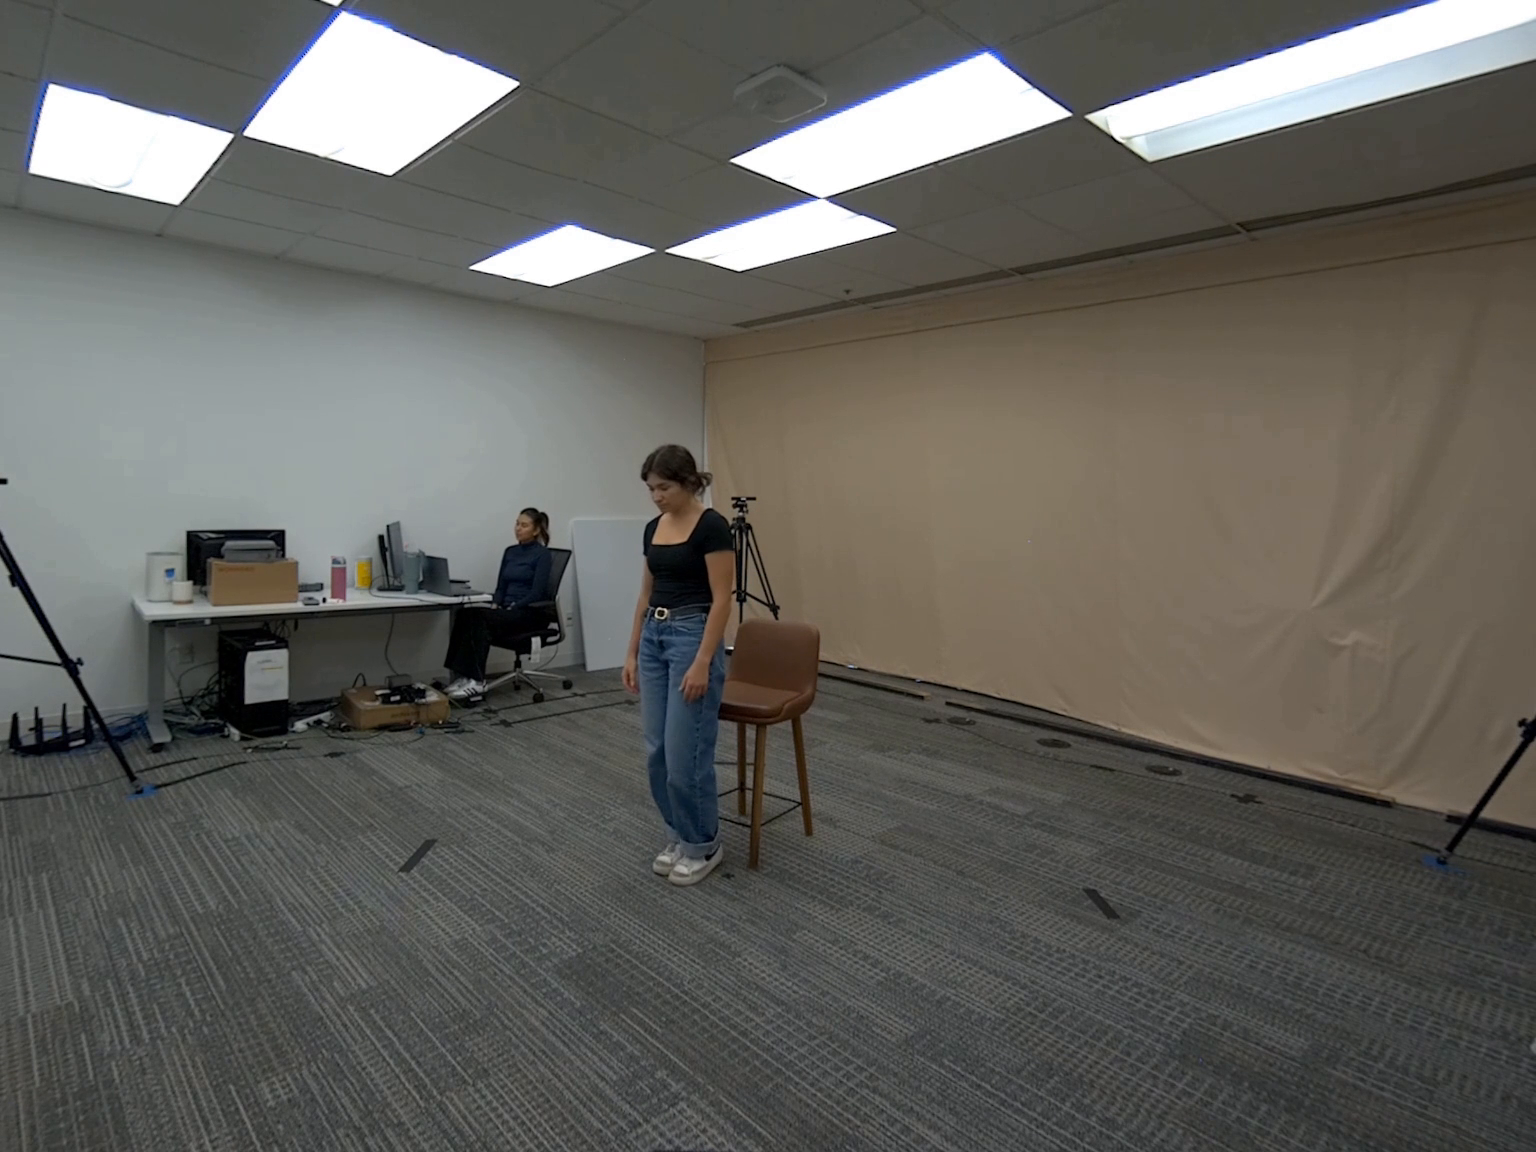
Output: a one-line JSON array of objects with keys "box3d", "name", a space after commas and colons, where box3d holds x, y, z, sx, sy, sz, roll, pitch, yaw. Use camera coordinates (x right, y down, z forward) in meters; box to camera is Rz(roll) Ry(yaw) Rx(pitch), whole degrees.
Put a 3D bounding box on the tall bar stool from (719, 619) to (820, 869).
[{"box3d": [-0.079, 0.648, 3.432, 0.467, 0.889, 0.457, 4, 2, 36], "name": "tall bar stool"}]
